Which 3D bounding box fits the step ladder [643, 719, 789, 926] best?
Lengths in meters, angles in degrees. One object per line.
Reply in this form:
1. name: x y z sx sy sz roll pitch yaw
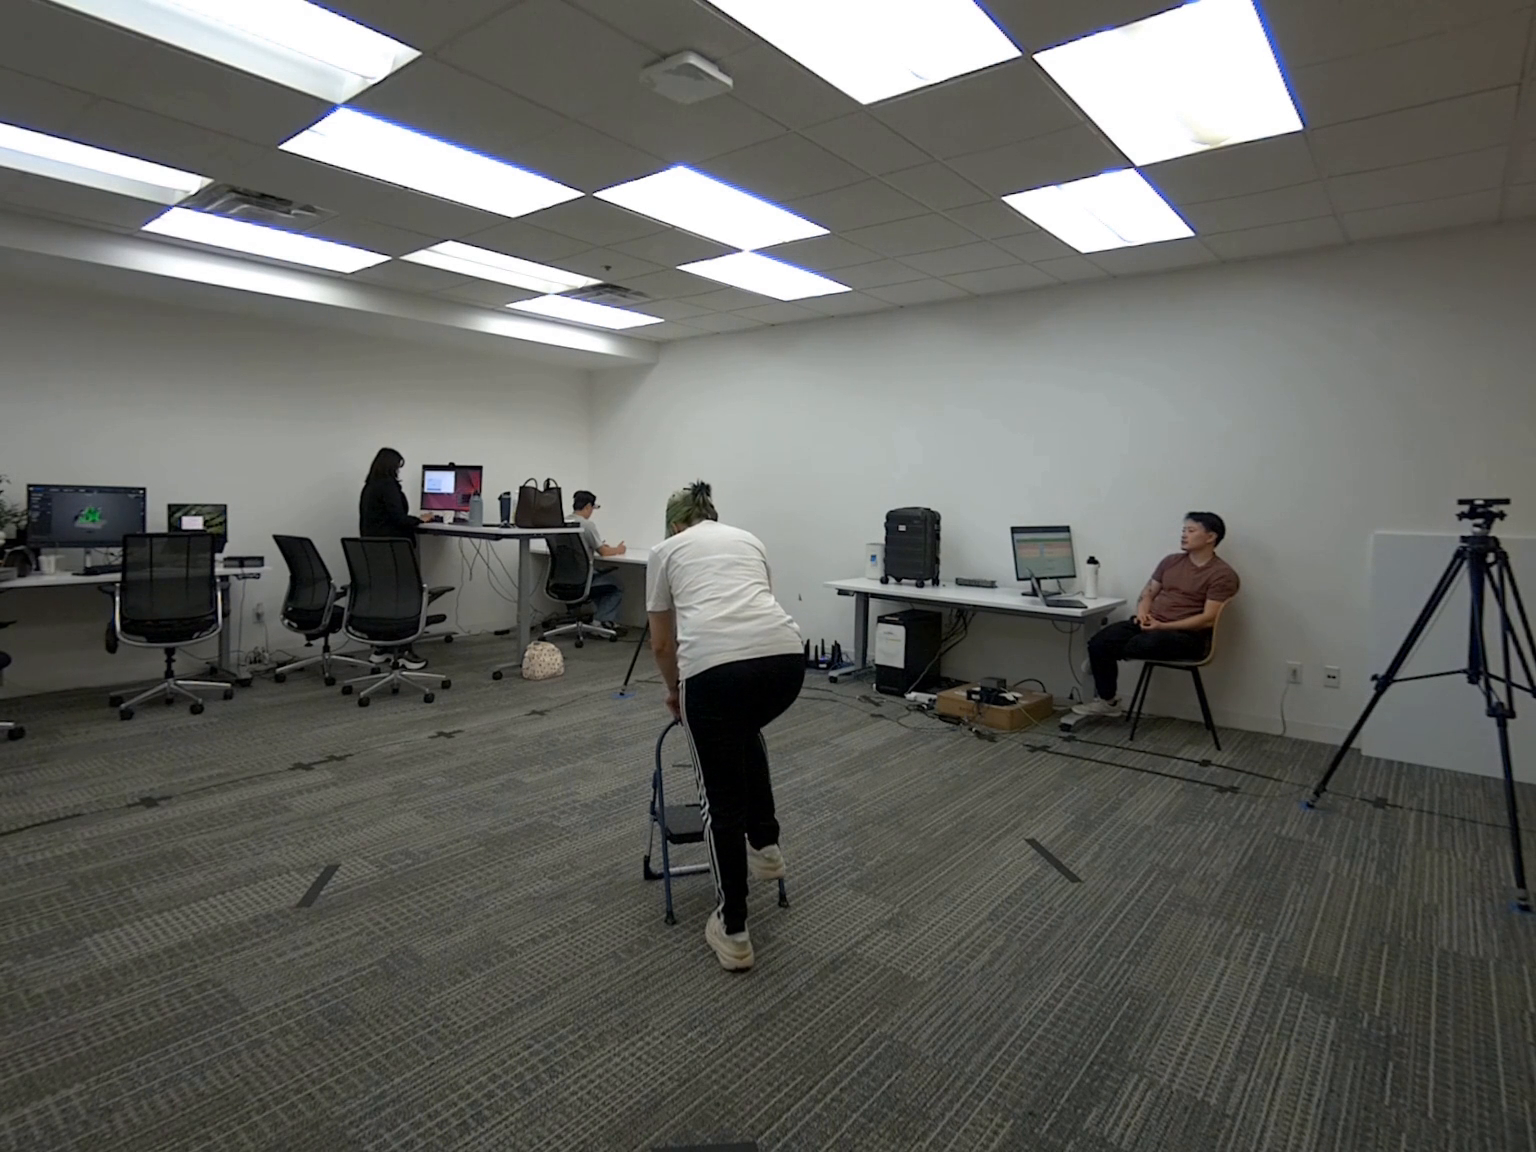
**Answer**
1. step ladder: -0.194 0.789 2.920 0.421 0.604 0.358 0 3 -21
